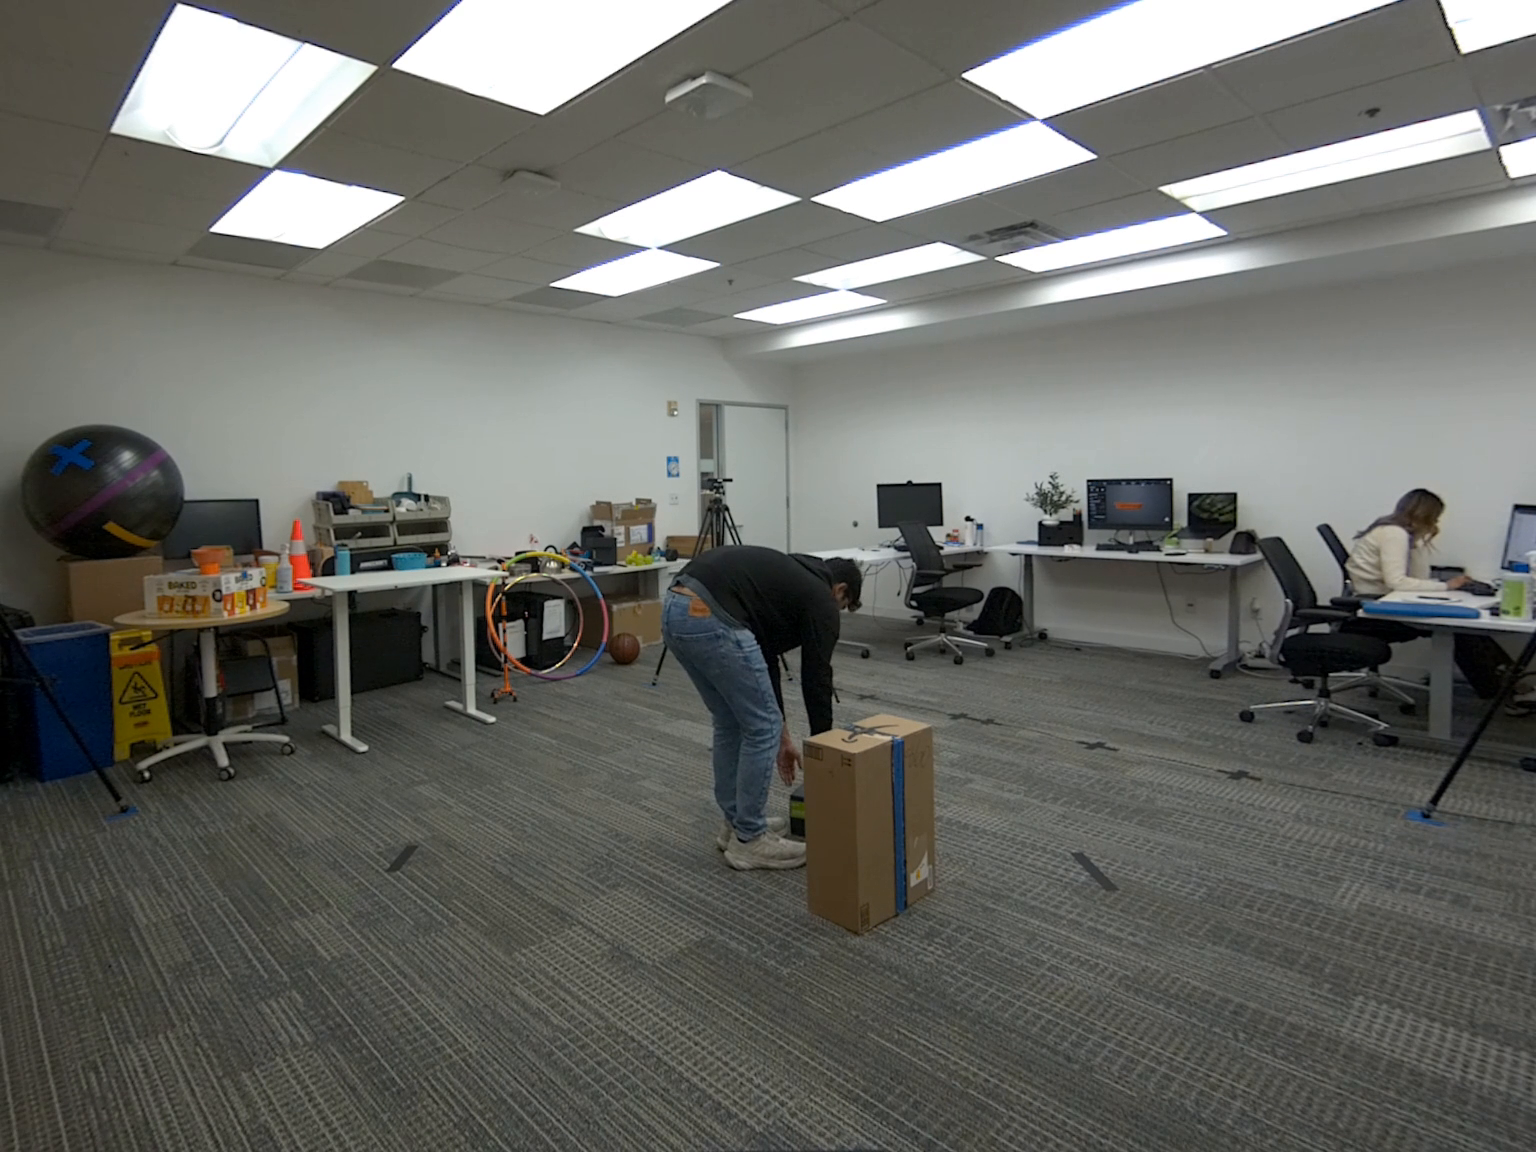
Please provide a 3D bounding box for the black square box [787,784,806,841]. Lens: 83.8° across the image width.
[{"bbox_3d":[0.239,0.923,3.395,0.233,0.155,0.213,2,5,25],"label":"black square box"}]
